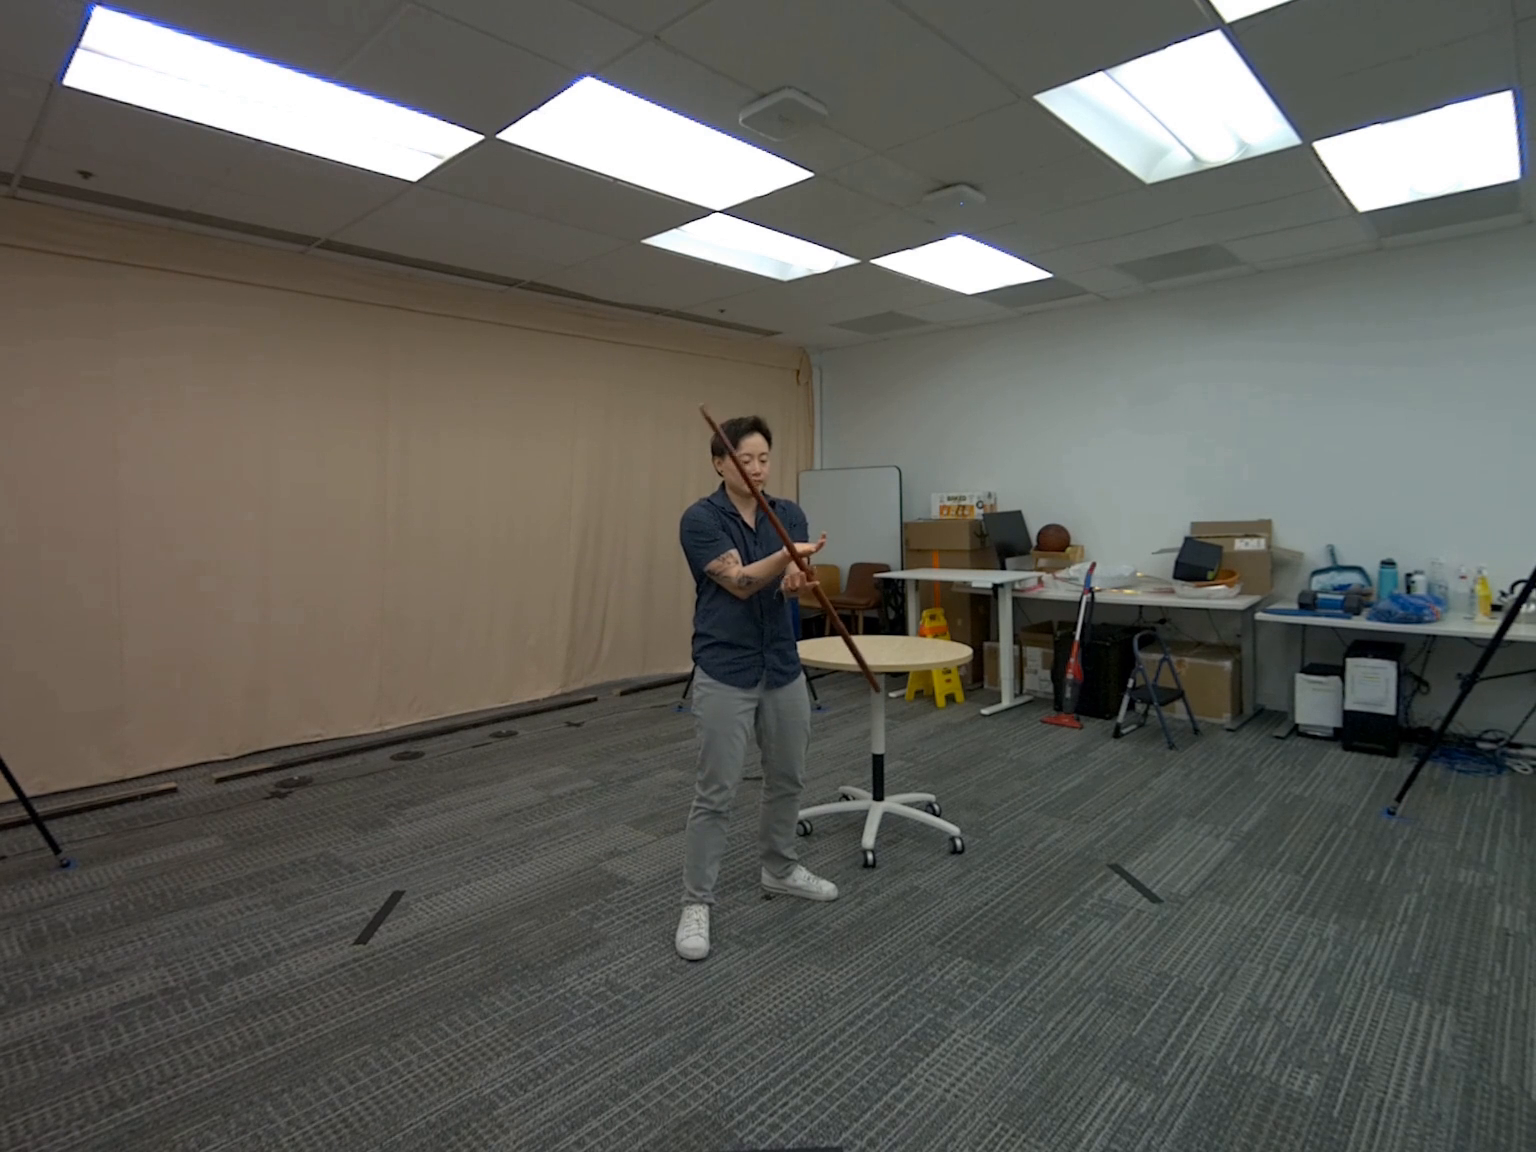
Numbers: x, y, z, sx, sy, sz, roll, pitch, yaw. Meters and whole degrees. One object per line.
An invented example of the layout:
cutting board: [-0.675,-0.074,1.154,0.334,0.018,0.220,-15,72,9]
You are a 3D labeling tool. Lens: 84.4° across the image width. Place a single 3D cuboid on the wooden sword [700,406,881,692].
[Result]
wooden sword: [0.097,-0.046,2.434,0.052,1.006,0.024,-17,22,41]
